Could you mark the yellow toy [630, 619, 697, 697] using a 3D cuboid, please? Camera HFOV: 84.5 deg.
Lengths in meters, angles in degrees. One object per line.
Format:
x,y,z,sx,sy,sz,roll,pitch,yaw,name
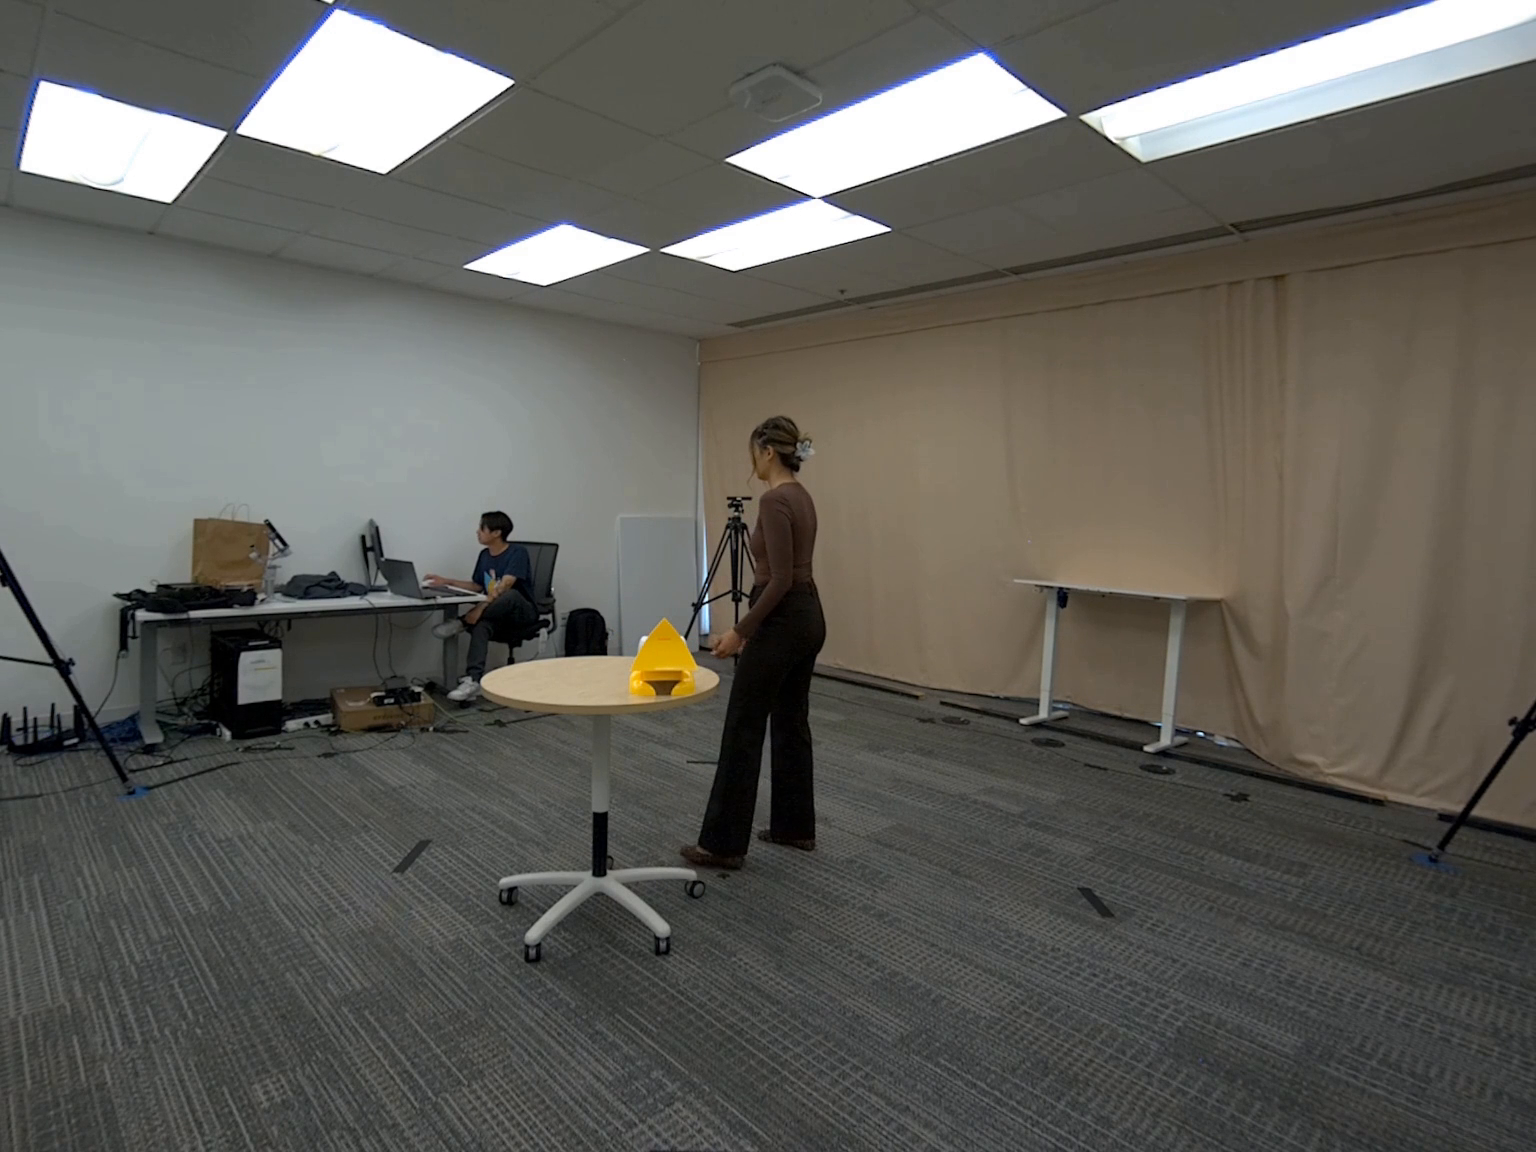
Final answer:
-0.333,0.238,2.566,0.203,0.230,0.195,1,4,-11,yellow toy
